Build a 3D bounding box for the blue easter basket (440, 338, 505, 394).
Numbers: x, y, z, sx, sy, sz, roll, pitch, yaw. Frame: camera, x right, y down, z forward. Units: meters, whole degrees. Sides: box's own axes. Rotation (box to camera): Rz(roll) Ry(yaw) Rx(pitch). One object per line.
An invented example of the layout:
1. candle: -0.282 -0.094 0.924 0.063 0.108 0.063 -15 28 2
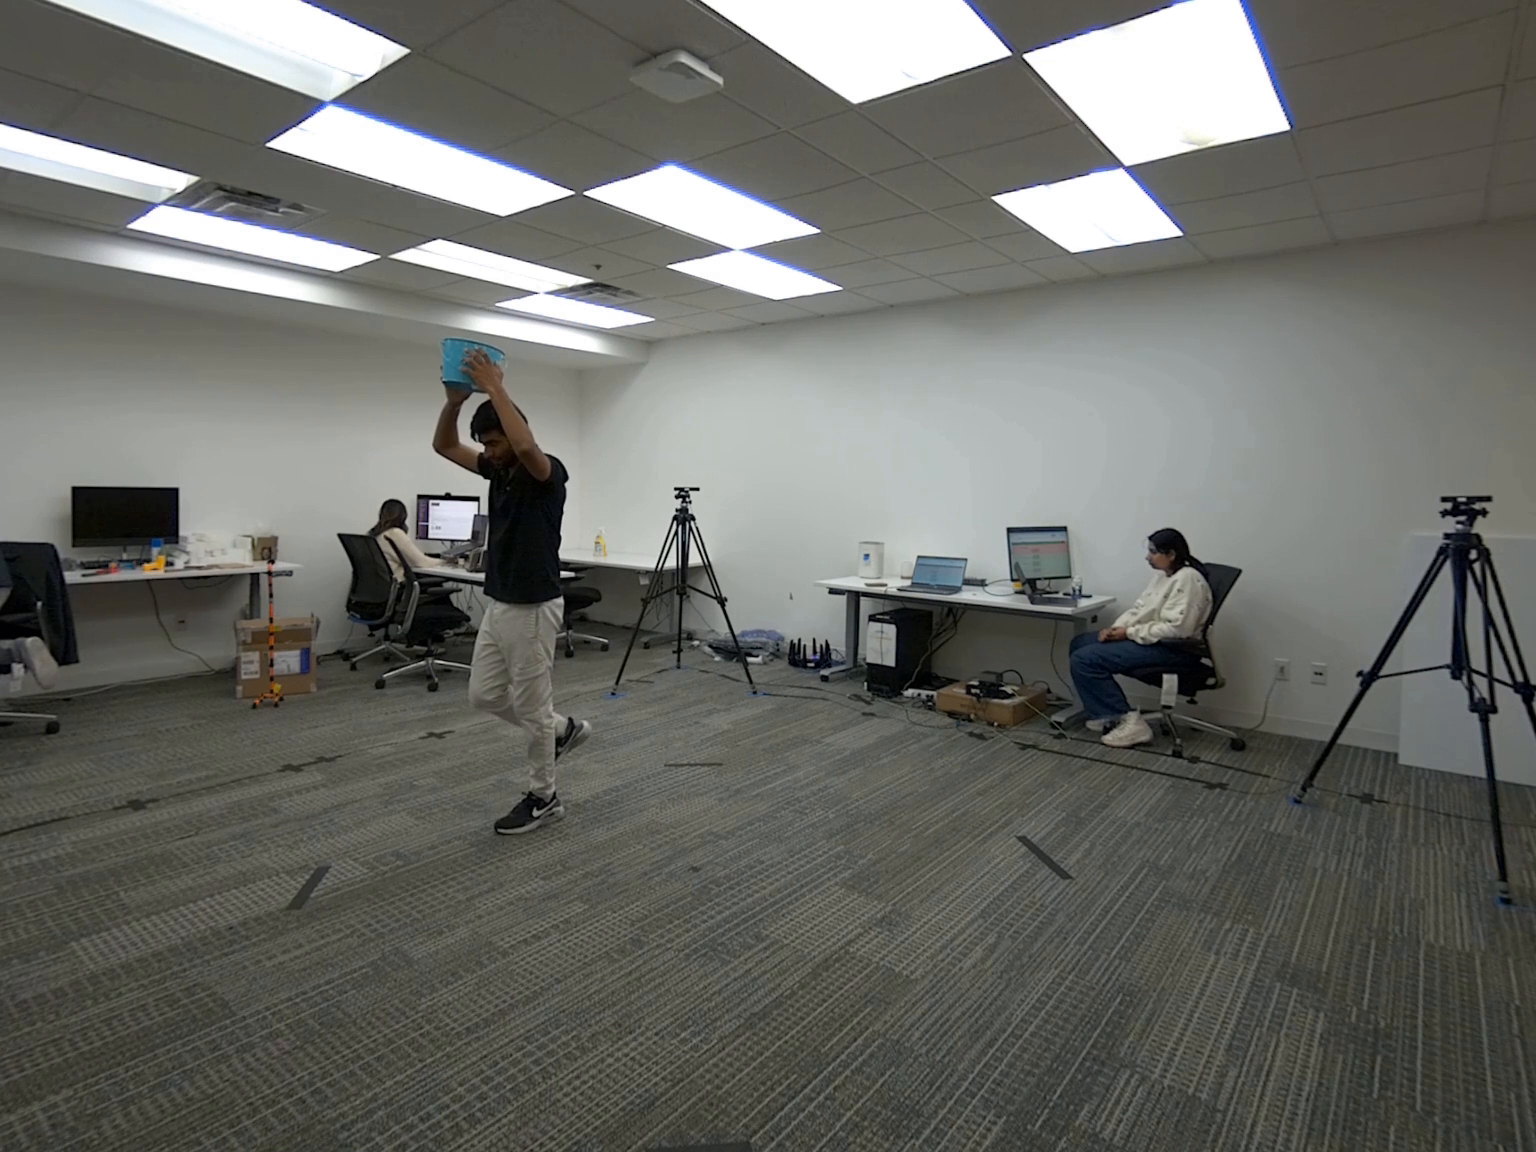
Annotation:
1. blue easter basket: -1.139 -0.786 3.166 0.243 0.156 0.243 9 -2 -2
